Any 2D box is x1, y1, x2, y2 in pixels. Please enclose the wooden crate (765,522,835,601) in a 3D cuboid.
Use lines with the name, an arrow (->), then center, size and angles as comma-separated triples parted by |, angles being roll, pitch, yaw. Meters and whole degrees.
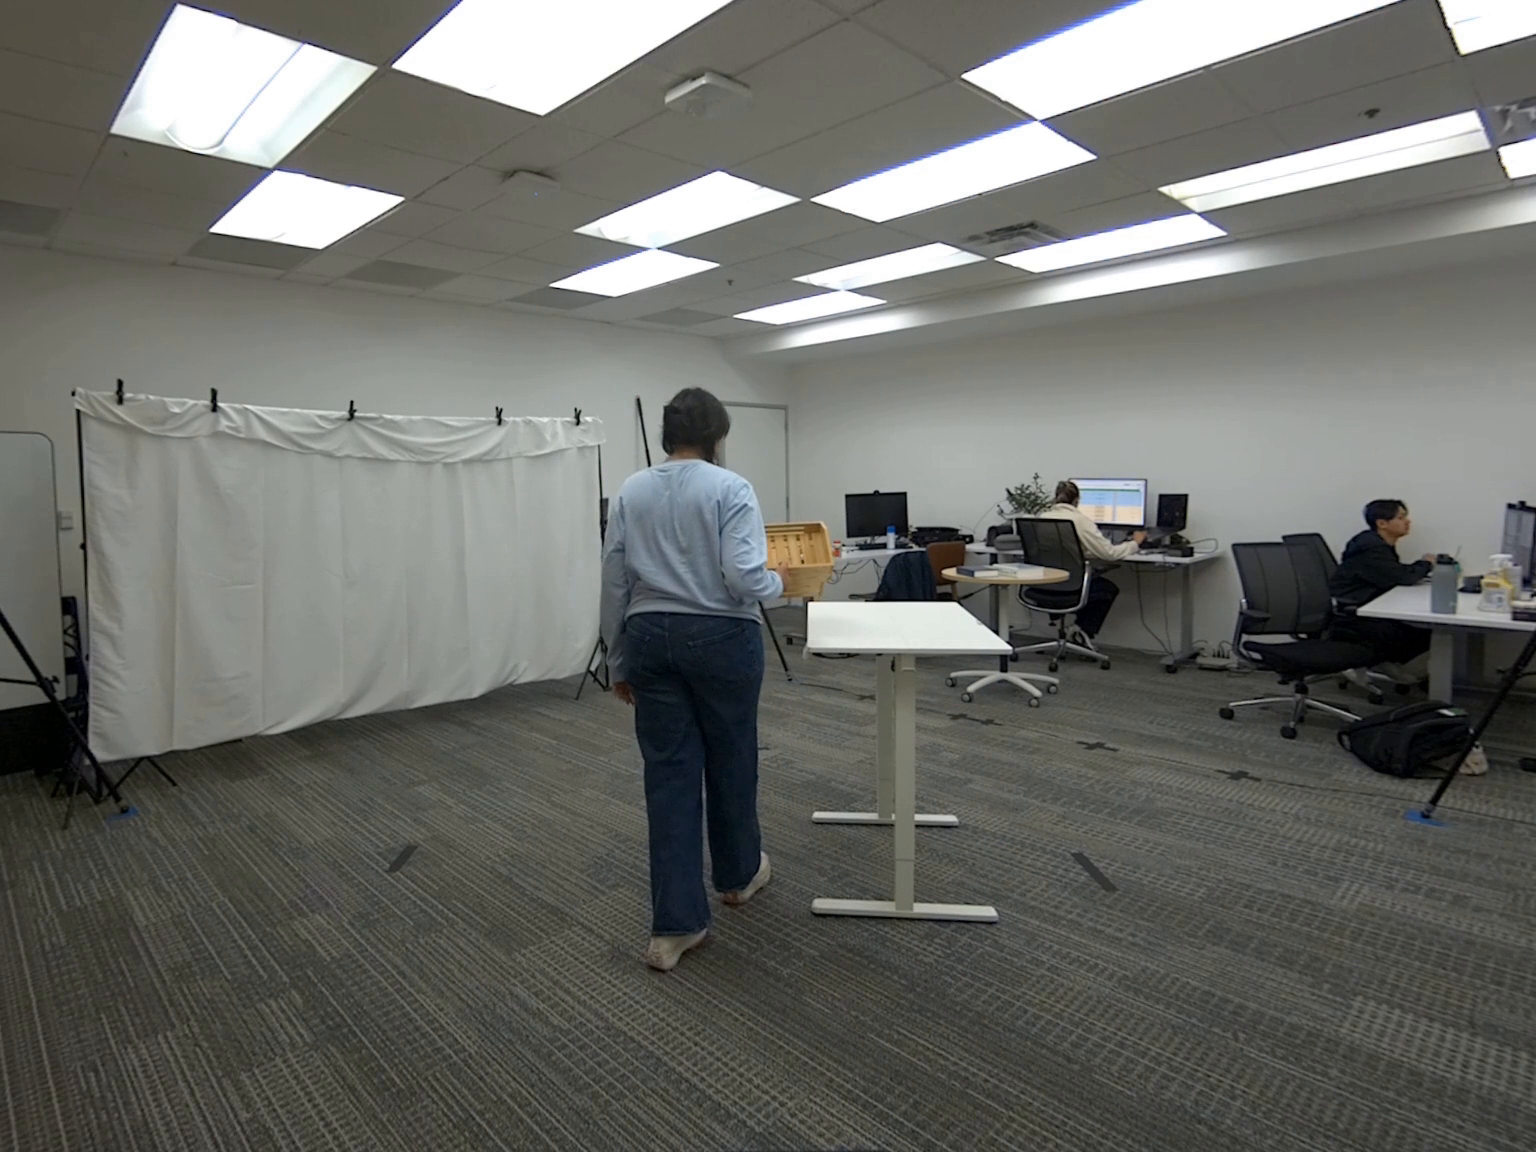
wooden crate -> 0.044, -0.081, 2.890 | 0.323, 0.311, 0.267 | -3, -36, -6
